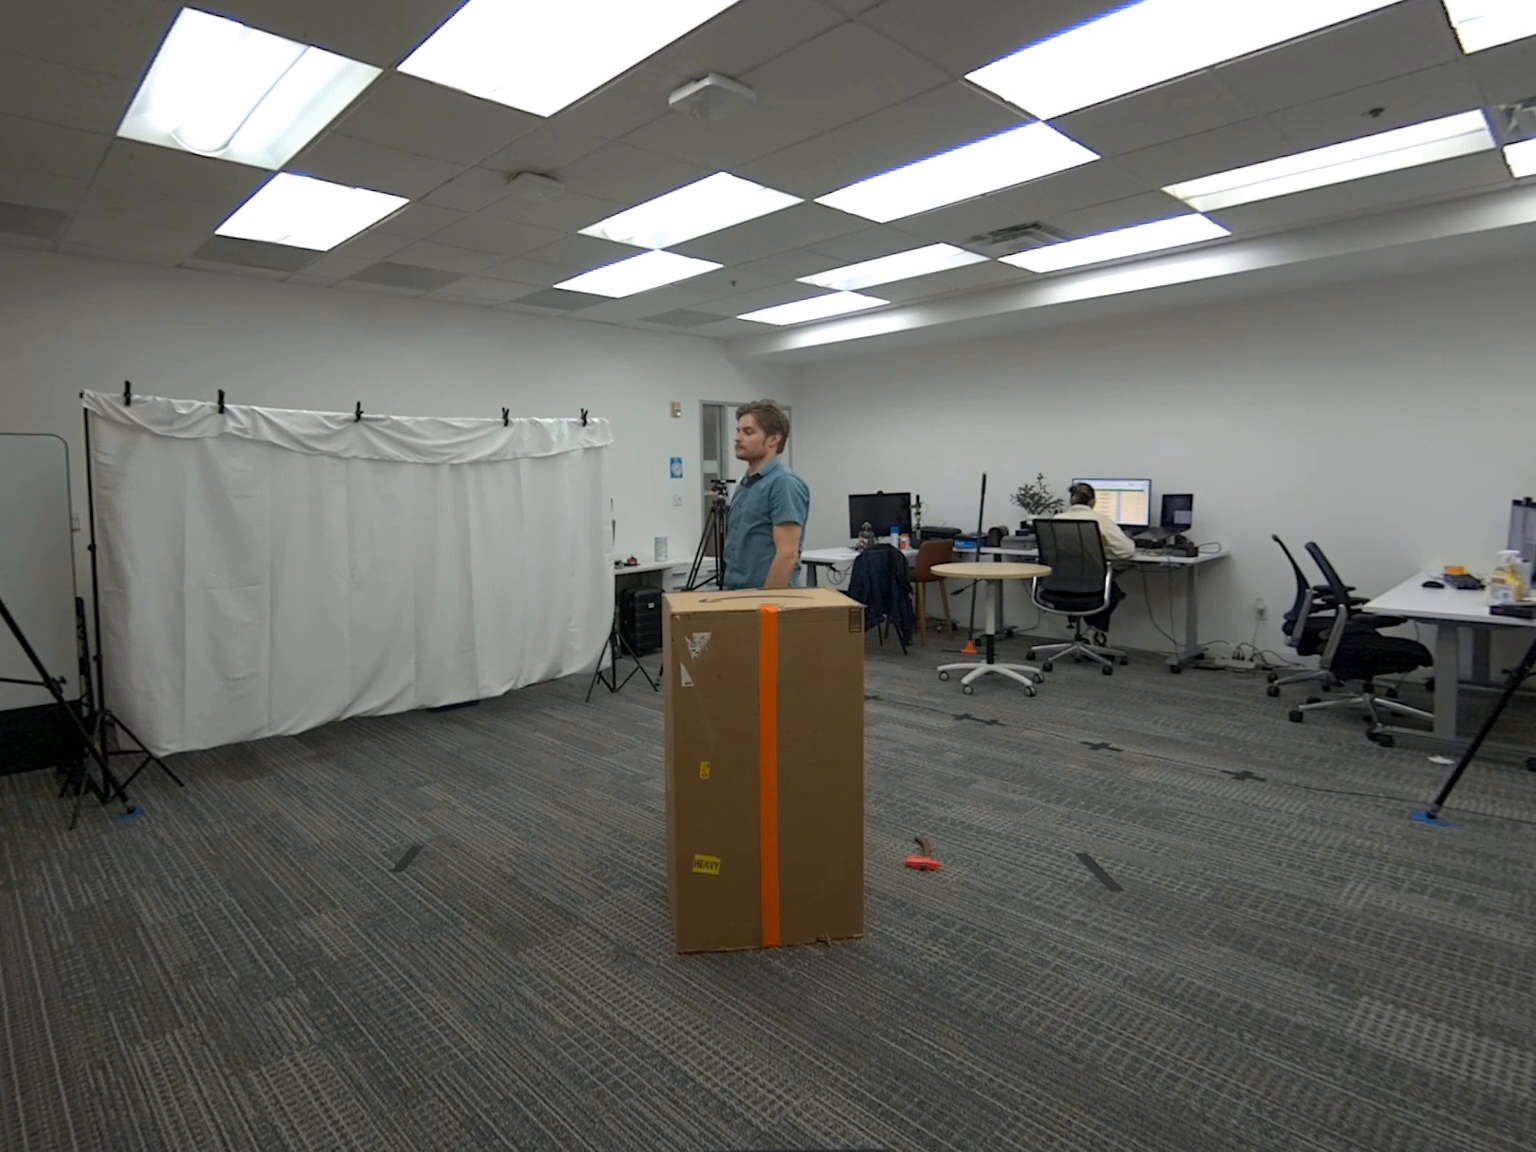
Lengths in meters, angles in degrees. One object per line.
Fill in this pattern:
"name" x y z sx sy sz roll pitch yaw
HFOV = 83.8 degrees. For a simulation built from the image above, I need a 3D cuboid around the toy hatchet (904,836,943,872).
"toy hatchet" 0.552 1.020 3.155 0.131 0.029 0.271 -6 4 -4
